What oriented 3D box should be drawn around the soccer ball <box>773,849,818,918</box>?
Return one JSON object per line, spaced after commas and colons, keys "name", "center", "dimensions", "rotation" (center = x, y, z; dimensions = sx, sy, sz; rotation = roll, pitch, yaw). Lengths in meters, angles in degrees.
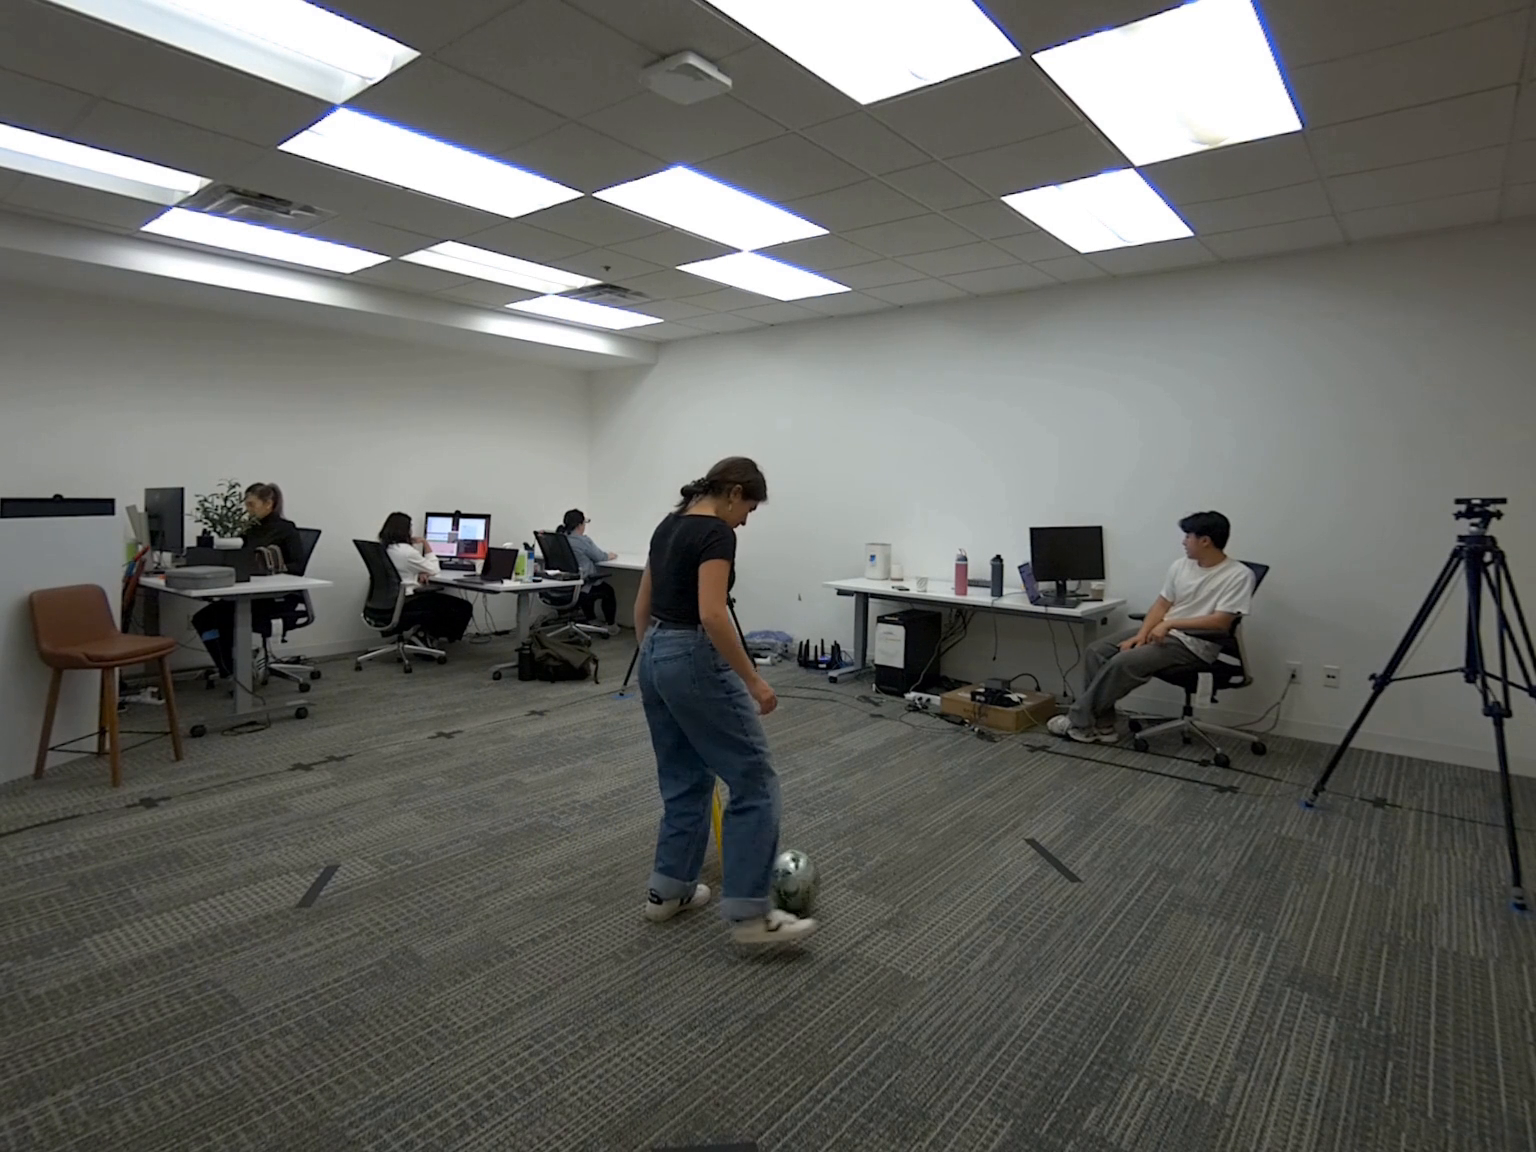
{"name": "soccer ball", "center": [0.081, 1.005, 2.826], "dimensions": [0.187, 0.187, 0.188], "rotation": [1, 4, -2]}
